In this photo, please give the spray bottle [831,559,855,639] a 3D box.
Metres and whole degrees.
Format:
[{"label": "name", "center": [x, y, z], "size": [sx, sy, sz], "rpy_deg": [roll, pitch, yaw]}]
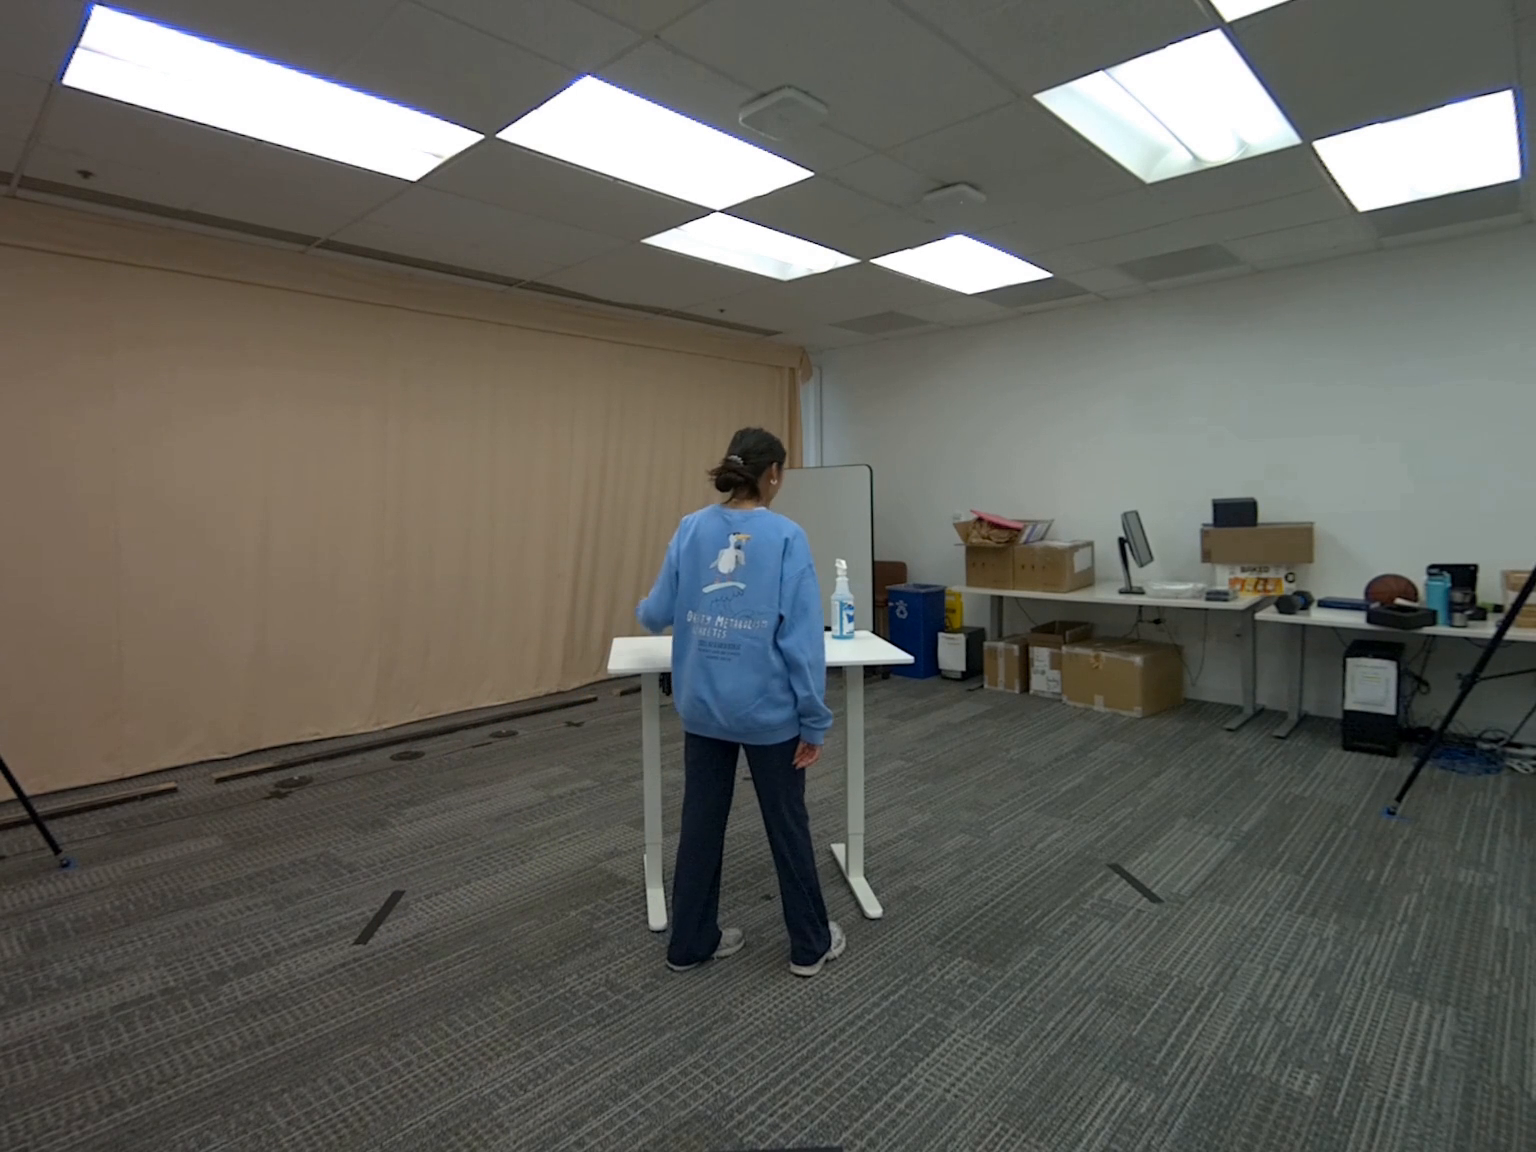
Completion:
[{"label": "spray bottle", "center": [0.291, 0.089, 3.184], "size": [0.088, 0.297, 0.089], "rpy_deg": [-1, 3, 13]}]
